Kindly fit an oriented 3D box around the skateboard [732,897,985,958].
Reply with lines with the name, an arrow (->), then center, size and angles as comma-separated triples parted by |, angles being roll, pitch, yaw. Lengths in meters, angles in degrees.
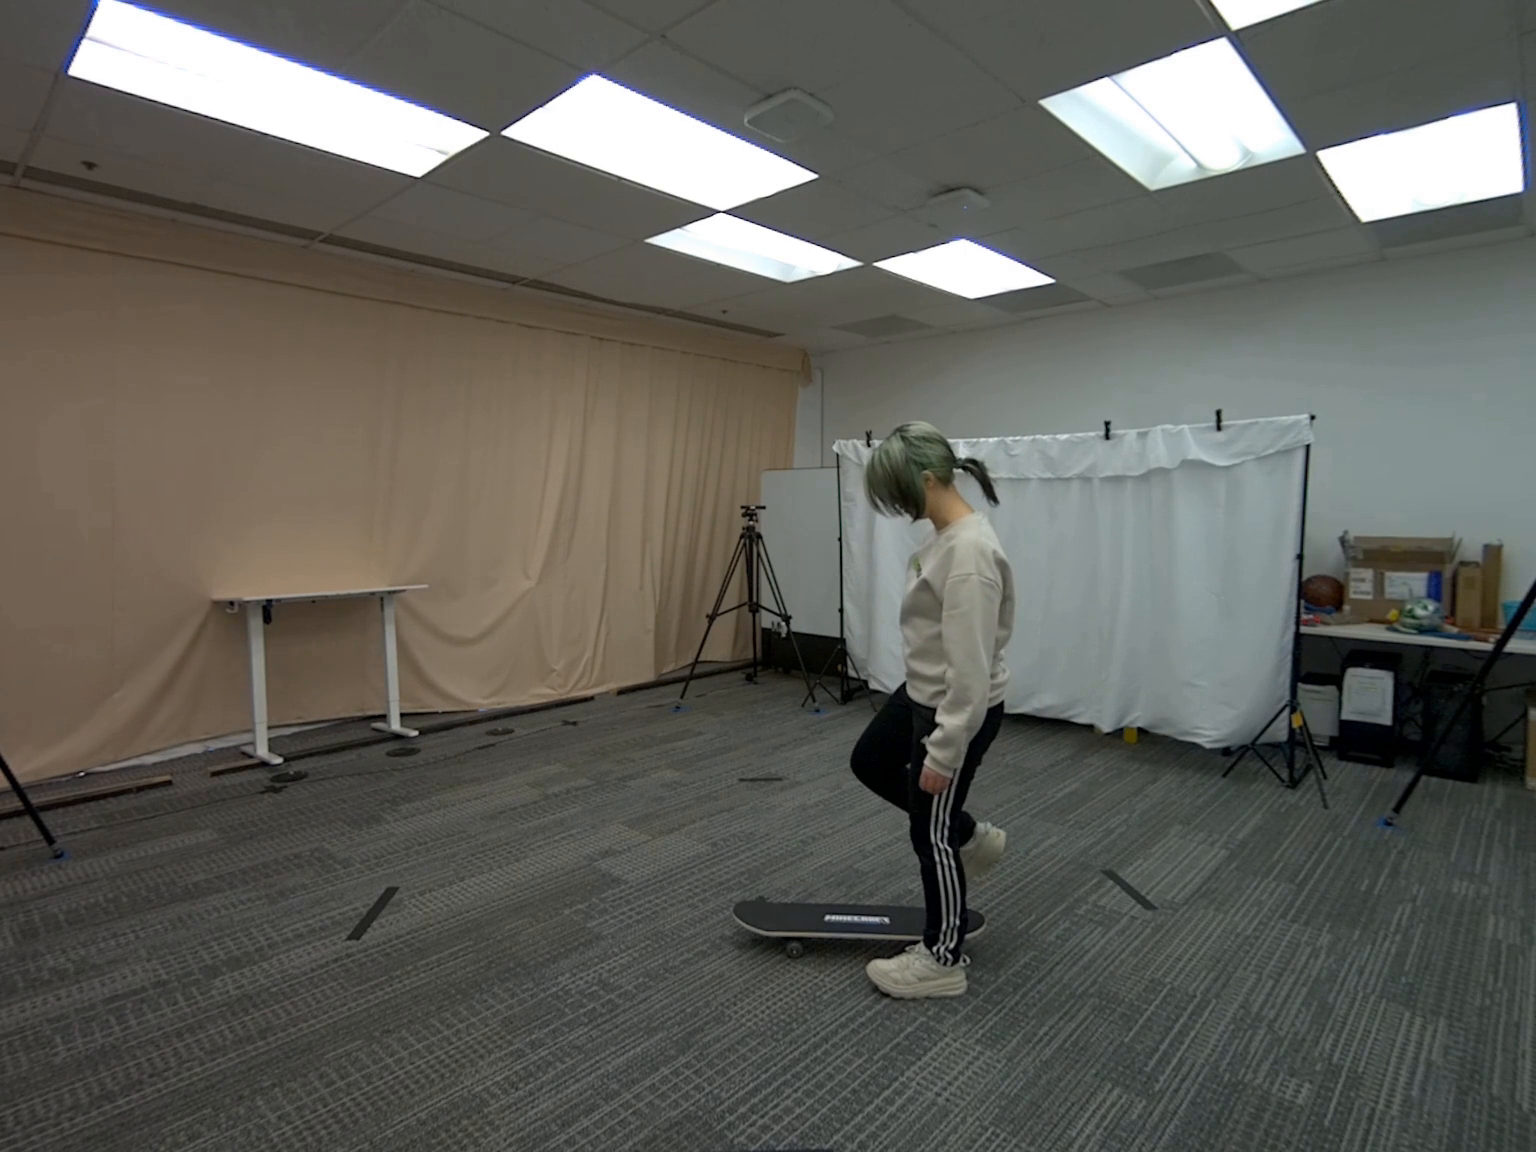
skateboard -> 0.285, 1.113, 2.650 | 0.789, 0.110, 0.193 | 0, 5, 4
